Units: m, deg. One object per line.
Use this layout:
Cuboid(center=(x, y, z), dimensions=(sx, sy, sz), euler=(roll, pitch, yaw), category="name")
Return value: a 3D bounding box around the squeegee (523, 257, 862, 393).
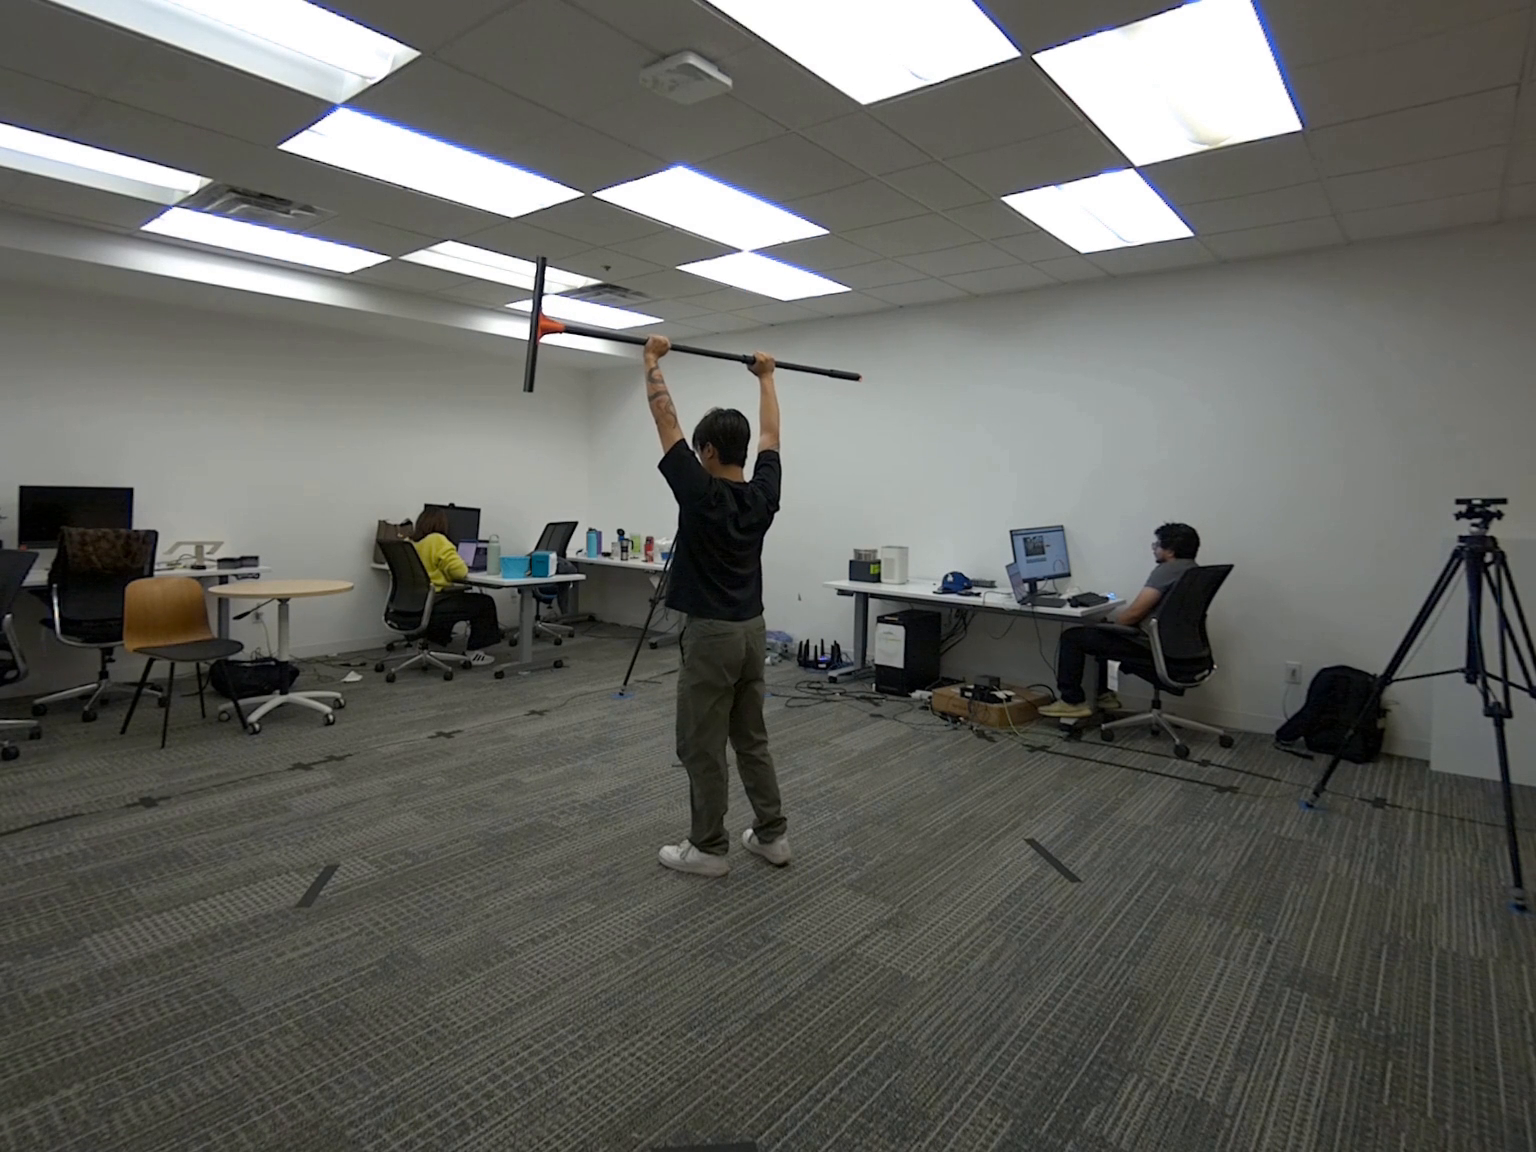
Cuboid(center=(-0.205, -0.834, 3.205), dimensions=(1.491, 0.433, 0.055), euler=(-1, 15, -39), category="squeegee")
